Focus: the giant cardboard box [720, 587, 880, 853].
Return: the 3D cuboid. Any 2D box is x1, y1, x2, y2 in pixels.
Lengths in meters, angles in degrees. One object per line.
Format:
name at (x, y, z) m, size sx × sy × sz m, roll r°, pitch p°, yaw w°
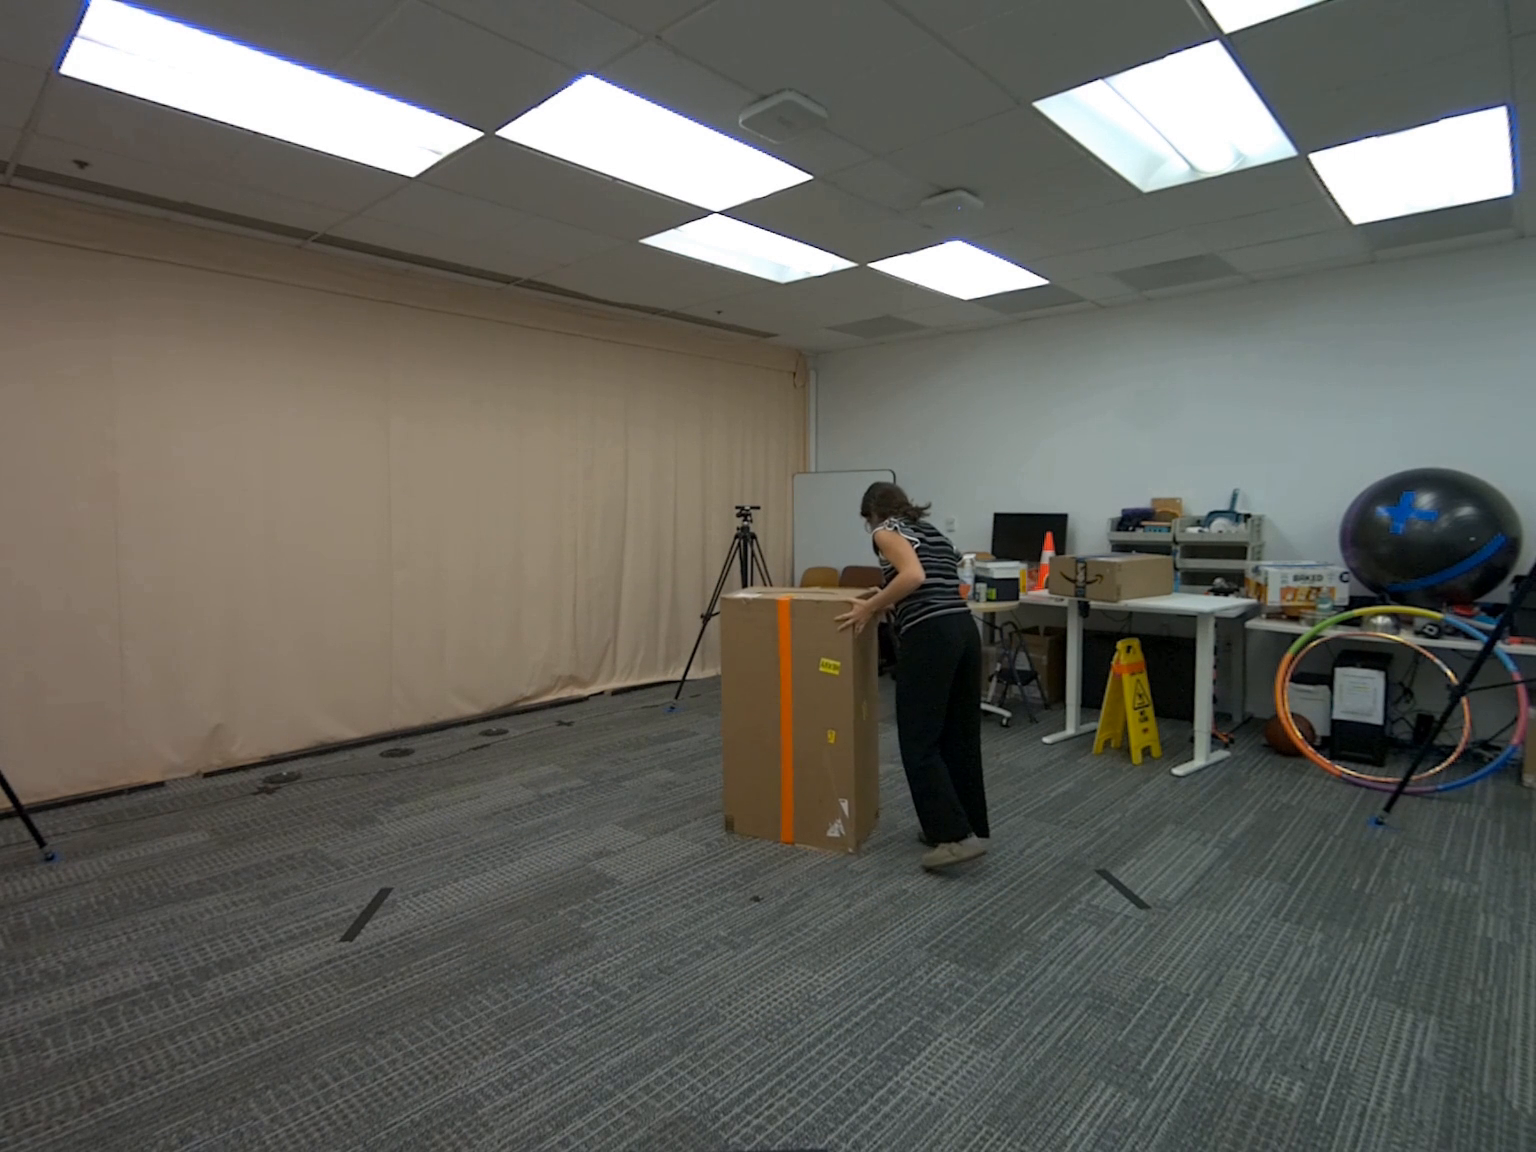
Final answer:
giant cardboard box at (0.147, 0.584, 3.639) m, size 0.592 × 1.023 × 0.417 m, roll 1°, pitch 4°, yaw 24°
